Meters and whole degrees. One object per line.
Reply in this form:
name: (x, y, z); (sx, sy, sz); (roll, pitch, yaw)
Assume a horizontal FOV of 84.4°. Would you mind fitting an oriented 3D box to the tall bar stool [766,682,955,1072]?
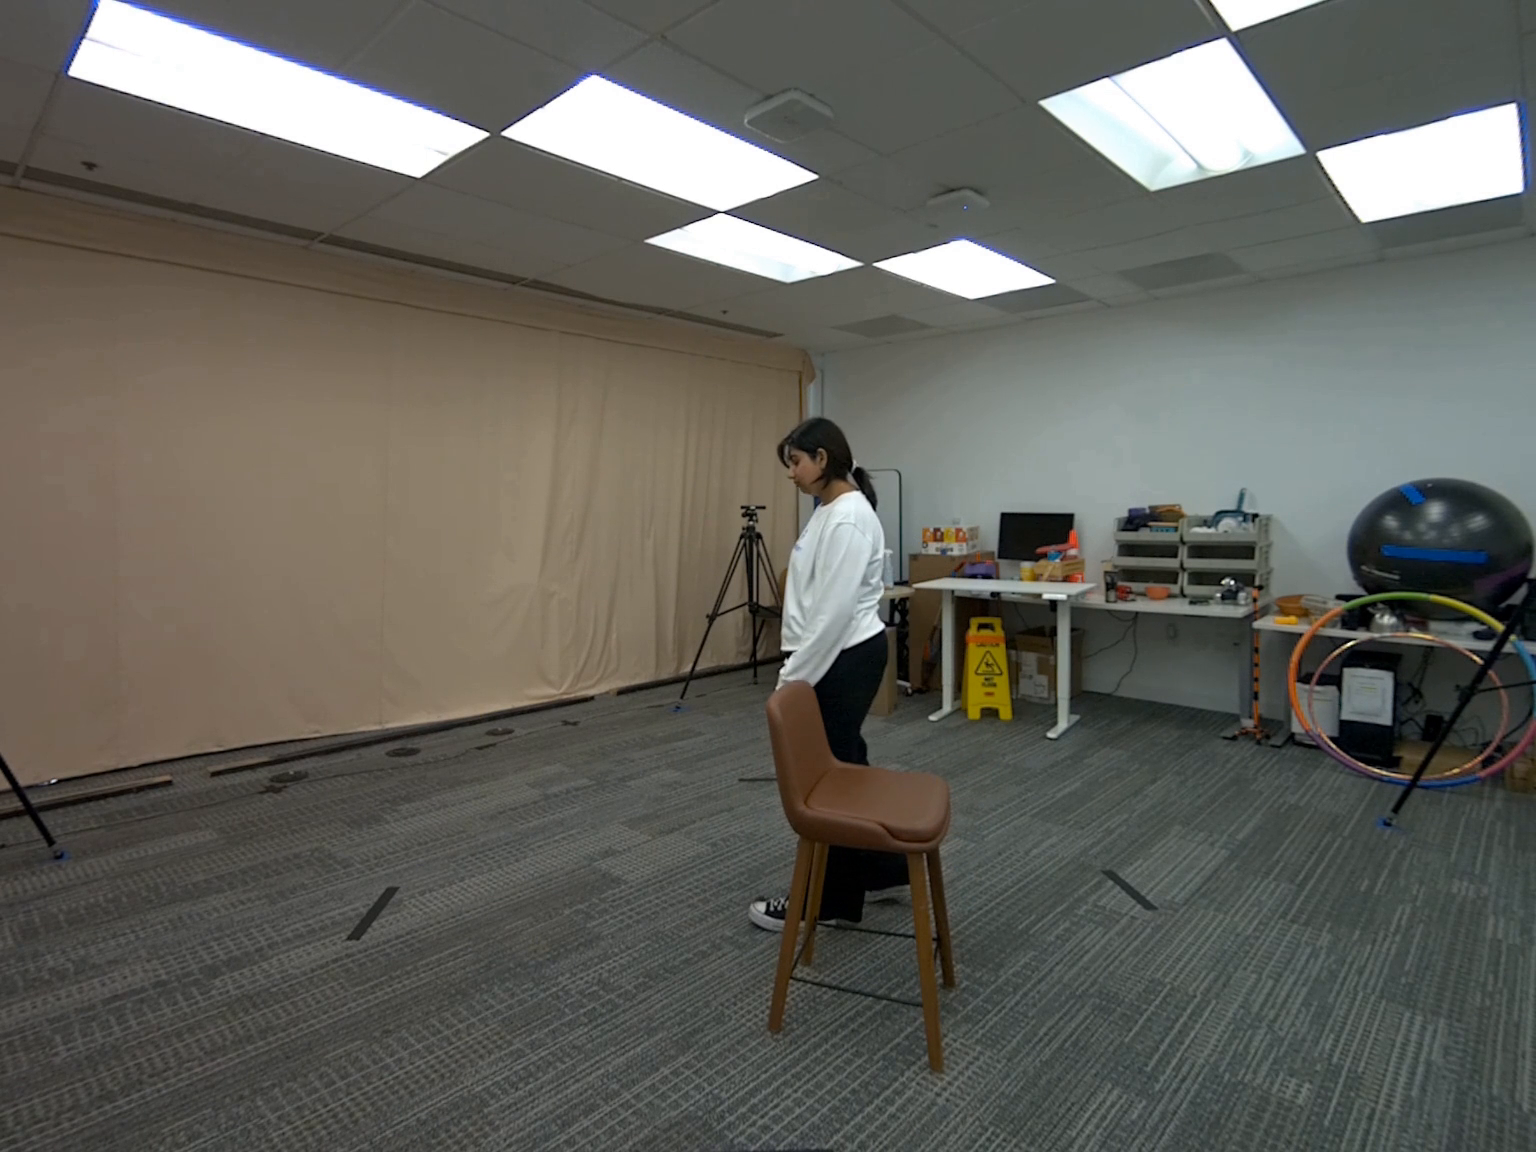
tall bar stool: (0.268, 0.762, 2.313); (0.477, 0.888, 0.448); (0, 3, 19)
